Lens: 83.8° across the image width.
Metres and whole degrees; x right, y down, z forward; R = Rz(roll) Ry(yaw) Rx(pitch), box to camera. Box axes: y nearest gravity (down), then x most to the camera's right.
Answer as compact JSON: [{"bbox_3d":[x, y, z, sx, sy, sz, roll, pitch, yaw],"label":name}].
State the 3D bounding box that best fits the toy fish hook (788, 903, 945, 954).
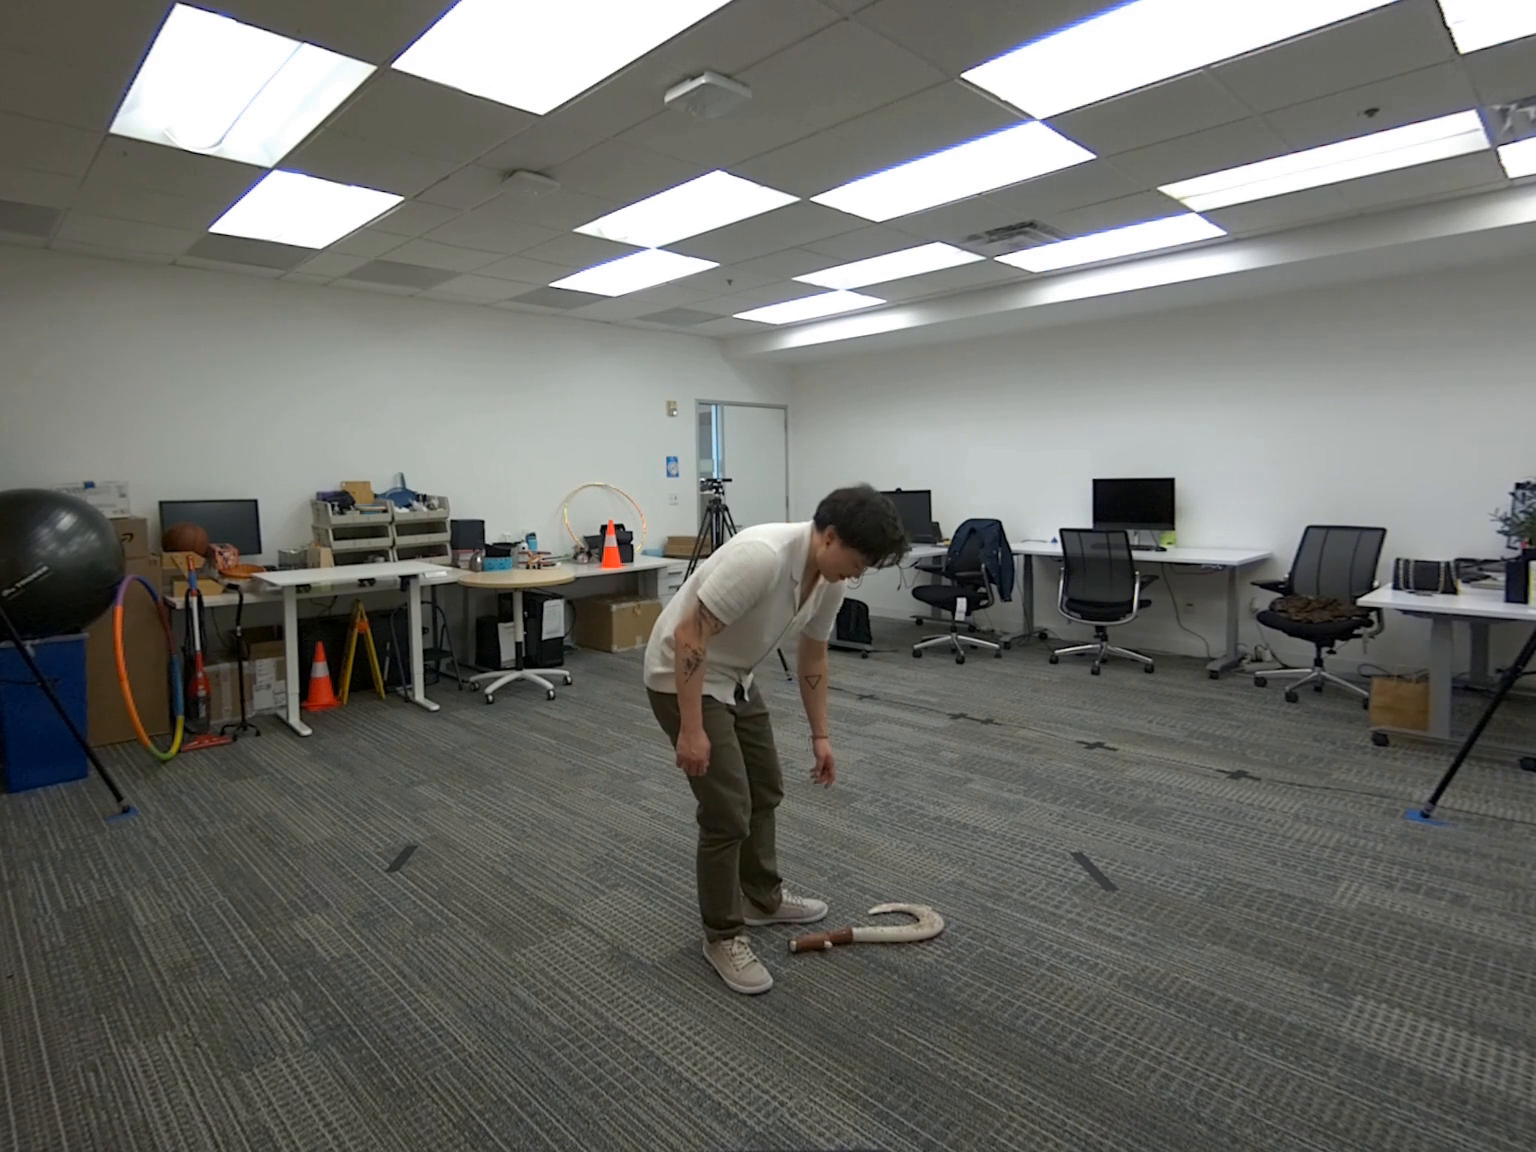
[{"bbox_3d":[0.291,1.073,2.630,0.500,0.048,0.226,-2,-2,-13],"label":"toy fish hook"}]
